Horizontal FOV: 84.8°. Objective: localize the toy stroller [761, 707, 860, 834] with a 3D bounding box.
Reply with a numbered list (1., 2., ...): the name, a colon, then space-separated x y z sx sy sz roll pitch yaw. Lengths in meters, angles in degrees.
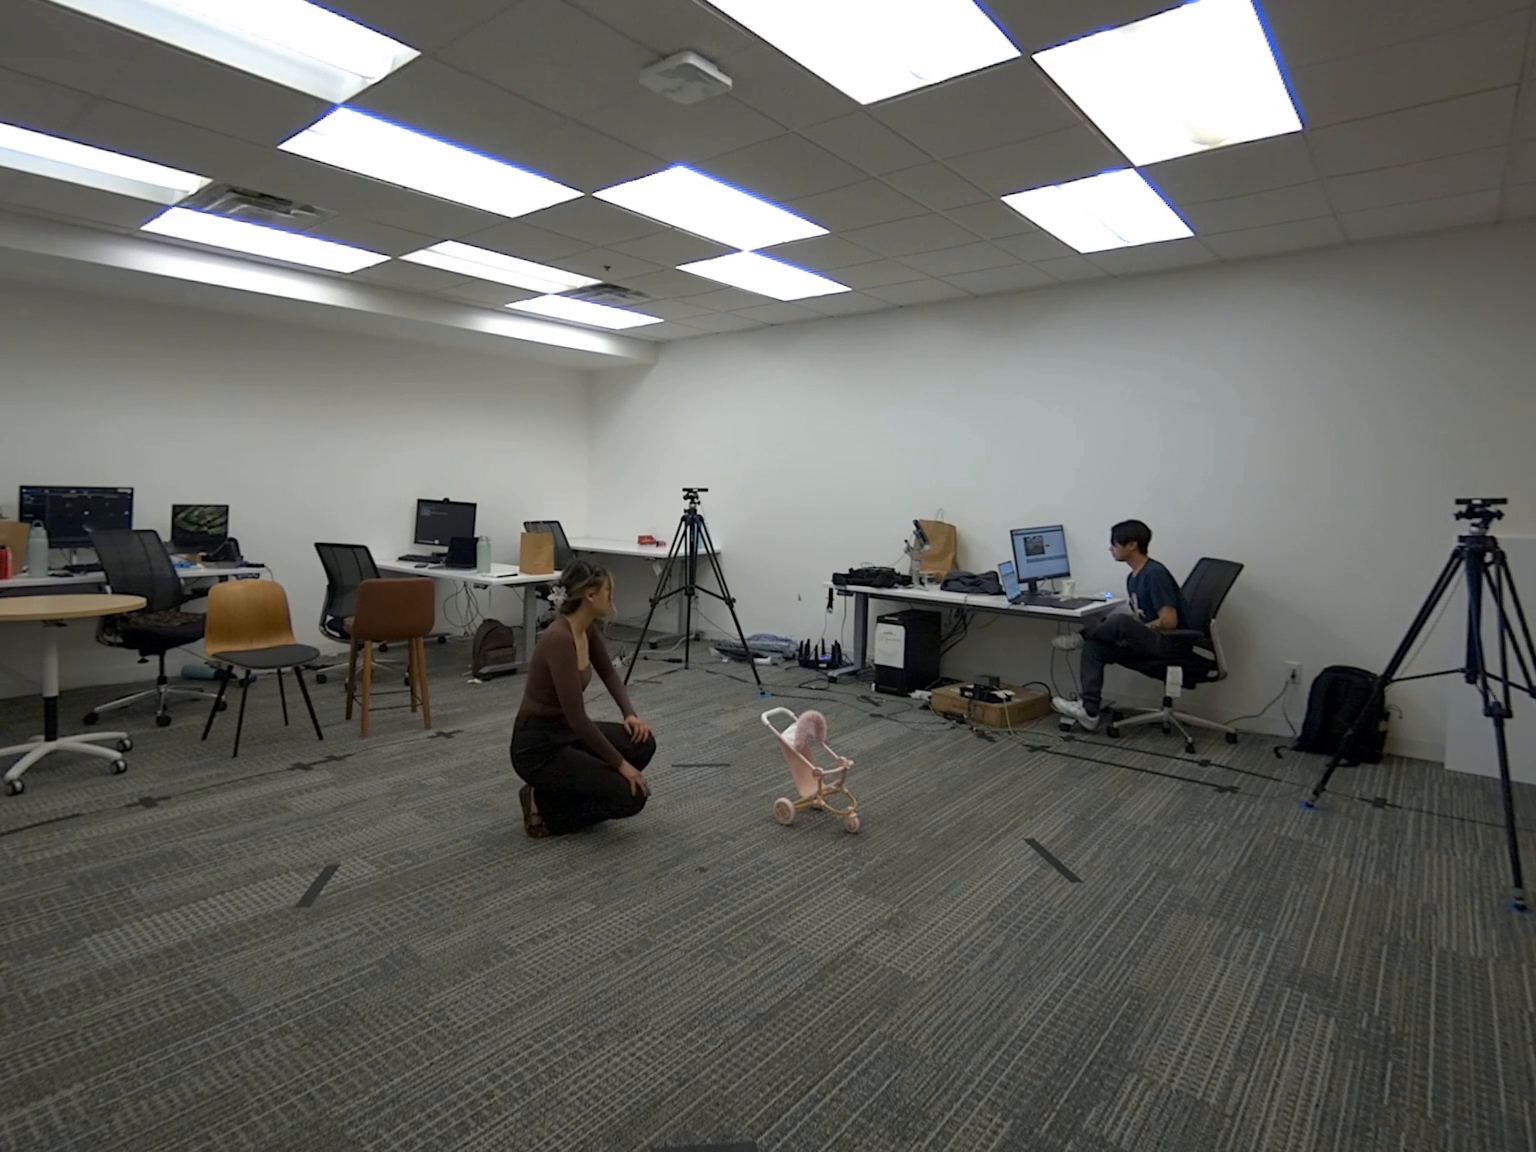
1. toy stroller: 0.187 0.810 3.588 0.348 0.540 0.273 -17 -9 41
